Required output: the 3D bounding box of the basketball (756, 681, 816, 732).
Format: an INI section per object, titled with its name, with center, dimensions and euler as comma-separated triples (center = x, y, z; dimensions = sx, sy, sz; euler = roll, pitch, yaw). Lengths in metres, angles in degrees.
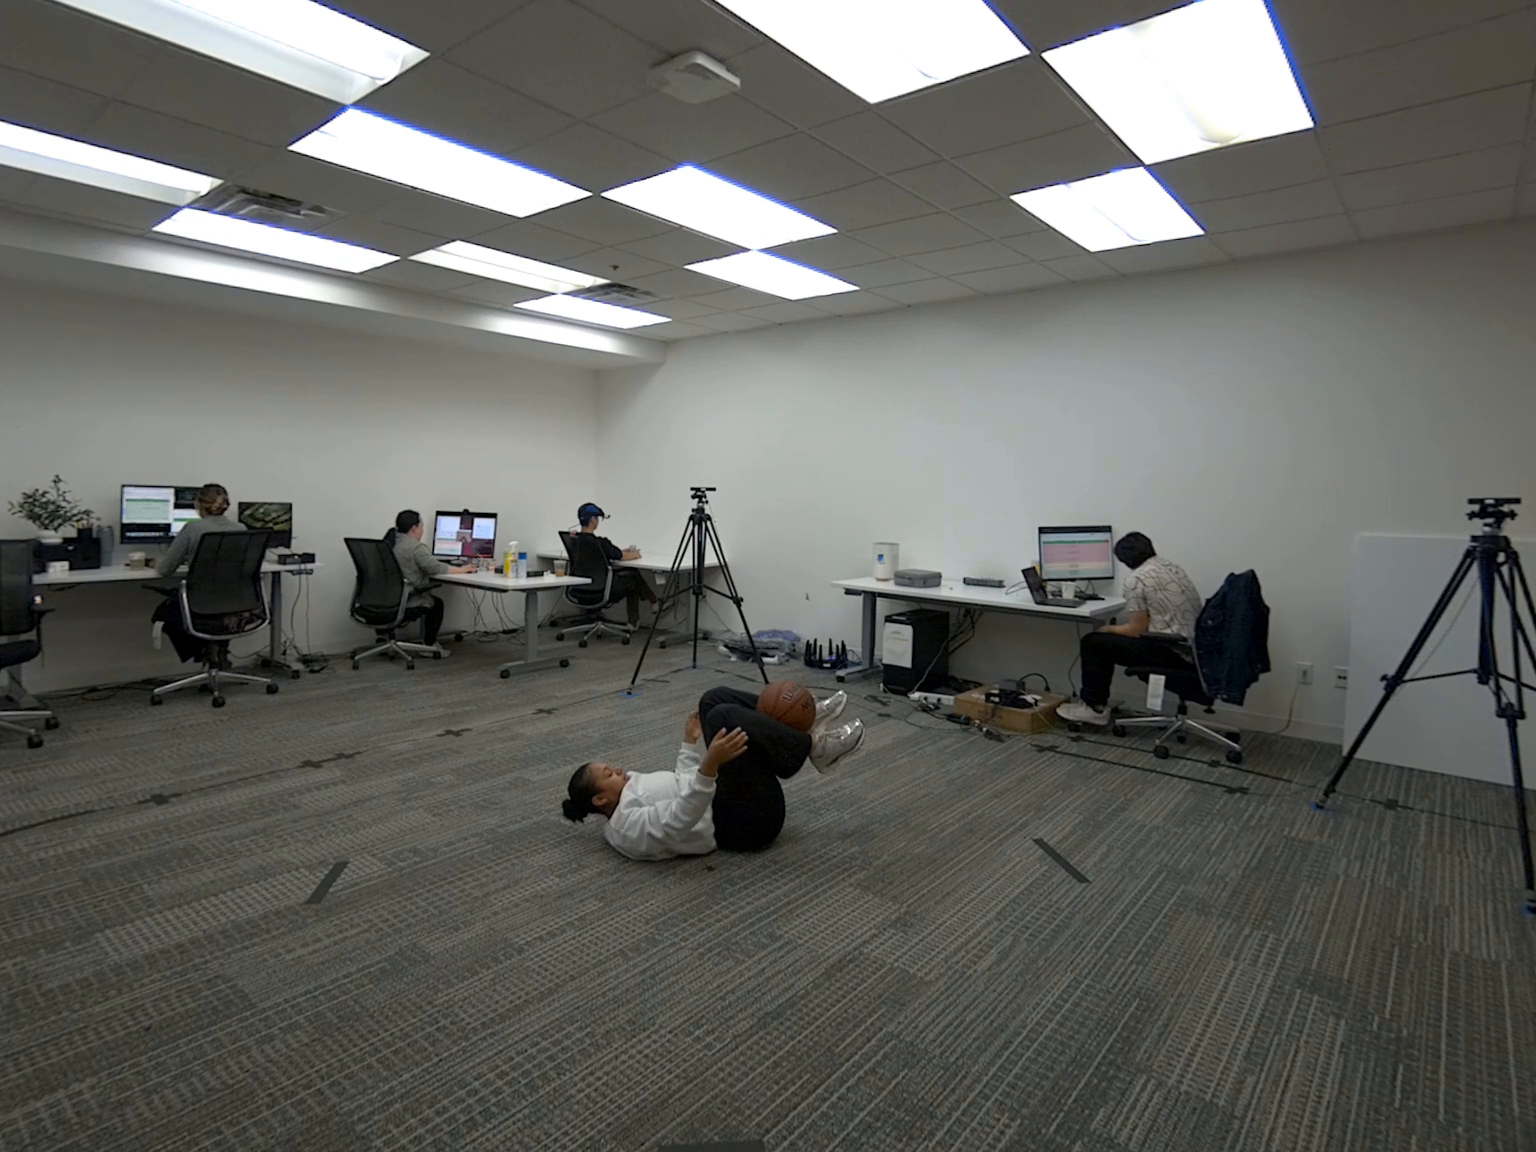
[basketball]
center = 0.072, 0.529, 3.408
dimensions = 0.235, 0.235, 0.237
euler = 1, 4, -2
